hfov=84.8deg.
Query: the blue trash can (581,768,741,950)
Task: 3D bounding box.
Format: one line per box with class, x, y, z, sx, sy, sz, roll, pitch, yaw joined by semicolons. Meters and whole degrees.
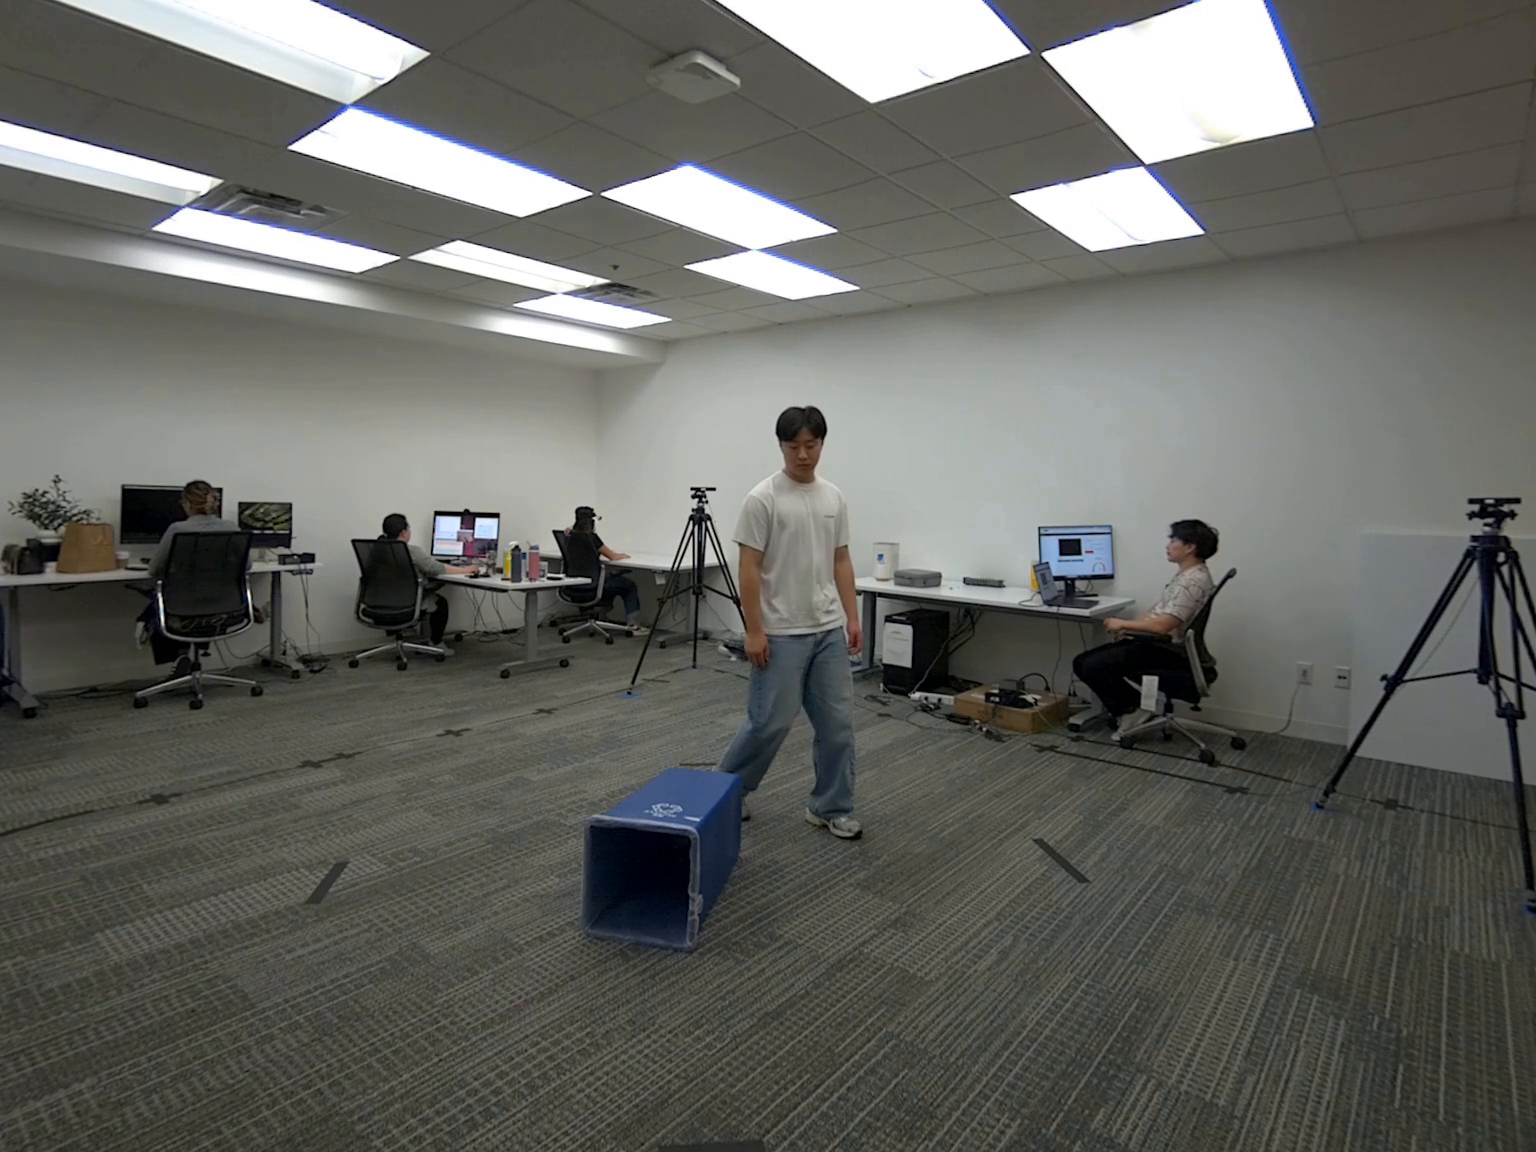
blue trash can;-0.335;0.912;2.915;0.380;0.378;0.704;1;2;12
